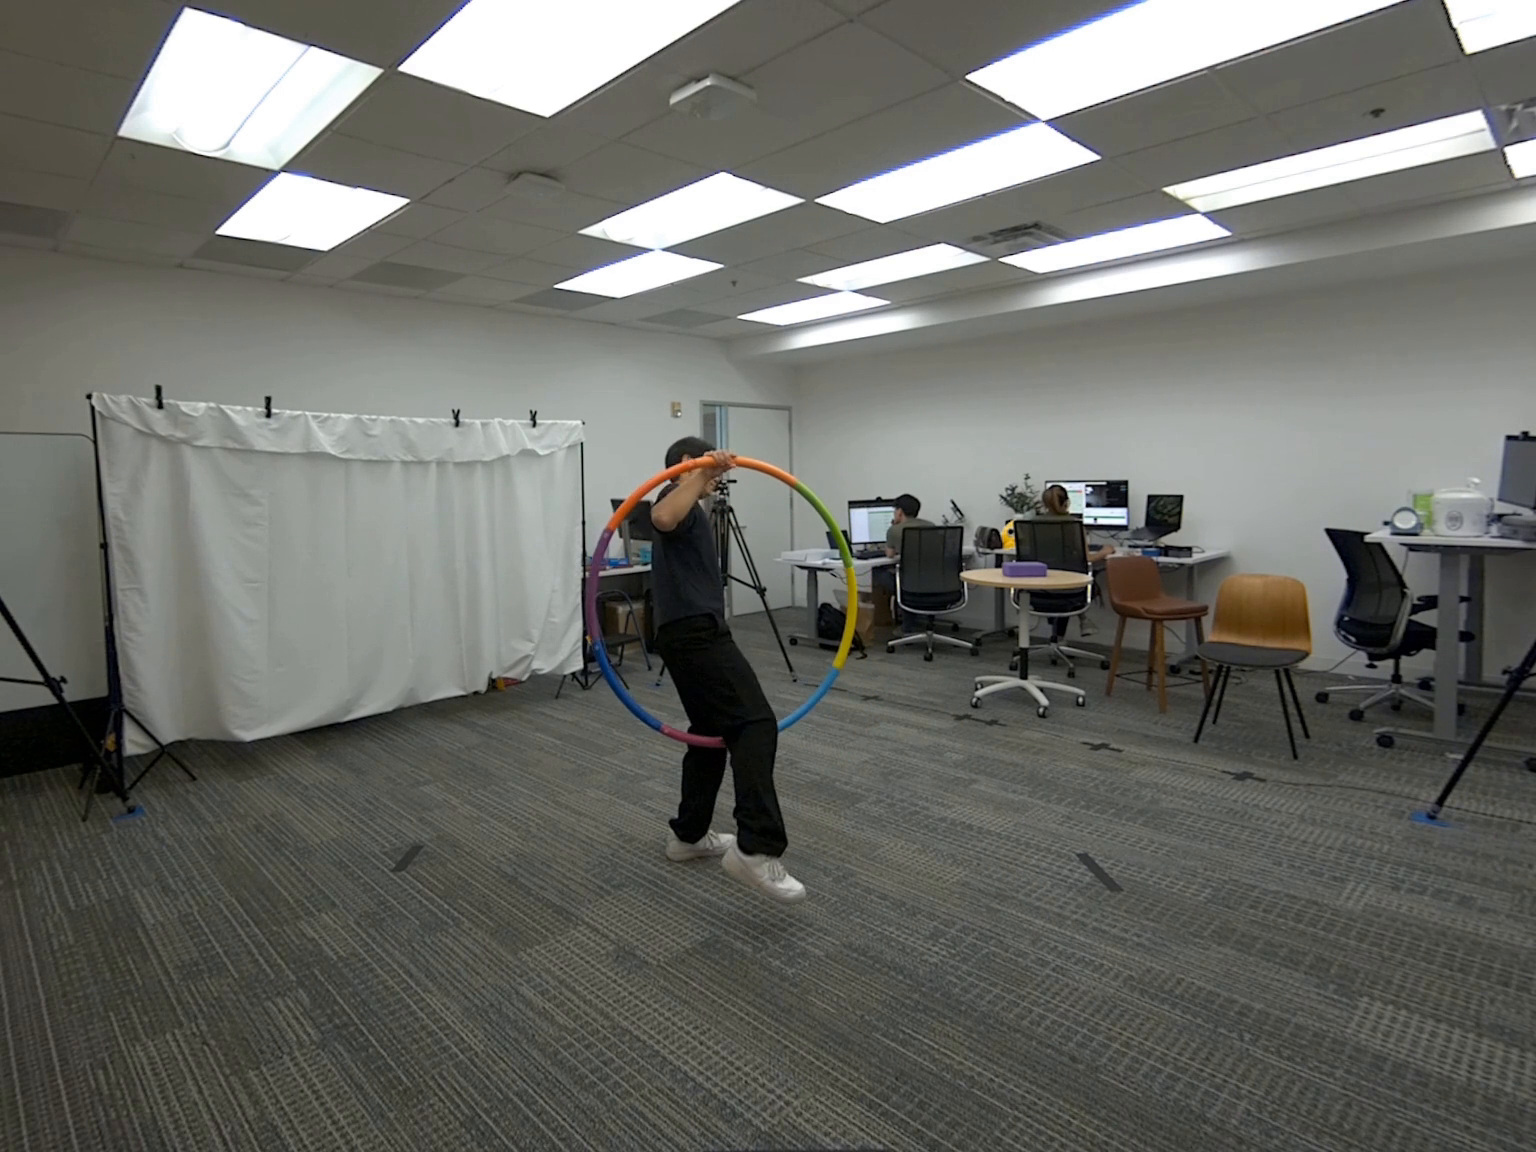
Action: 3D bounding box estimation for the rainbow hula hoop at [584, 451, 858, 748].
[{"bbox_3d":[-0.132,0.086,2.924,0.962,0.978,0.036,-3,1,-18],"label":"rainbow hula hoop"}]
